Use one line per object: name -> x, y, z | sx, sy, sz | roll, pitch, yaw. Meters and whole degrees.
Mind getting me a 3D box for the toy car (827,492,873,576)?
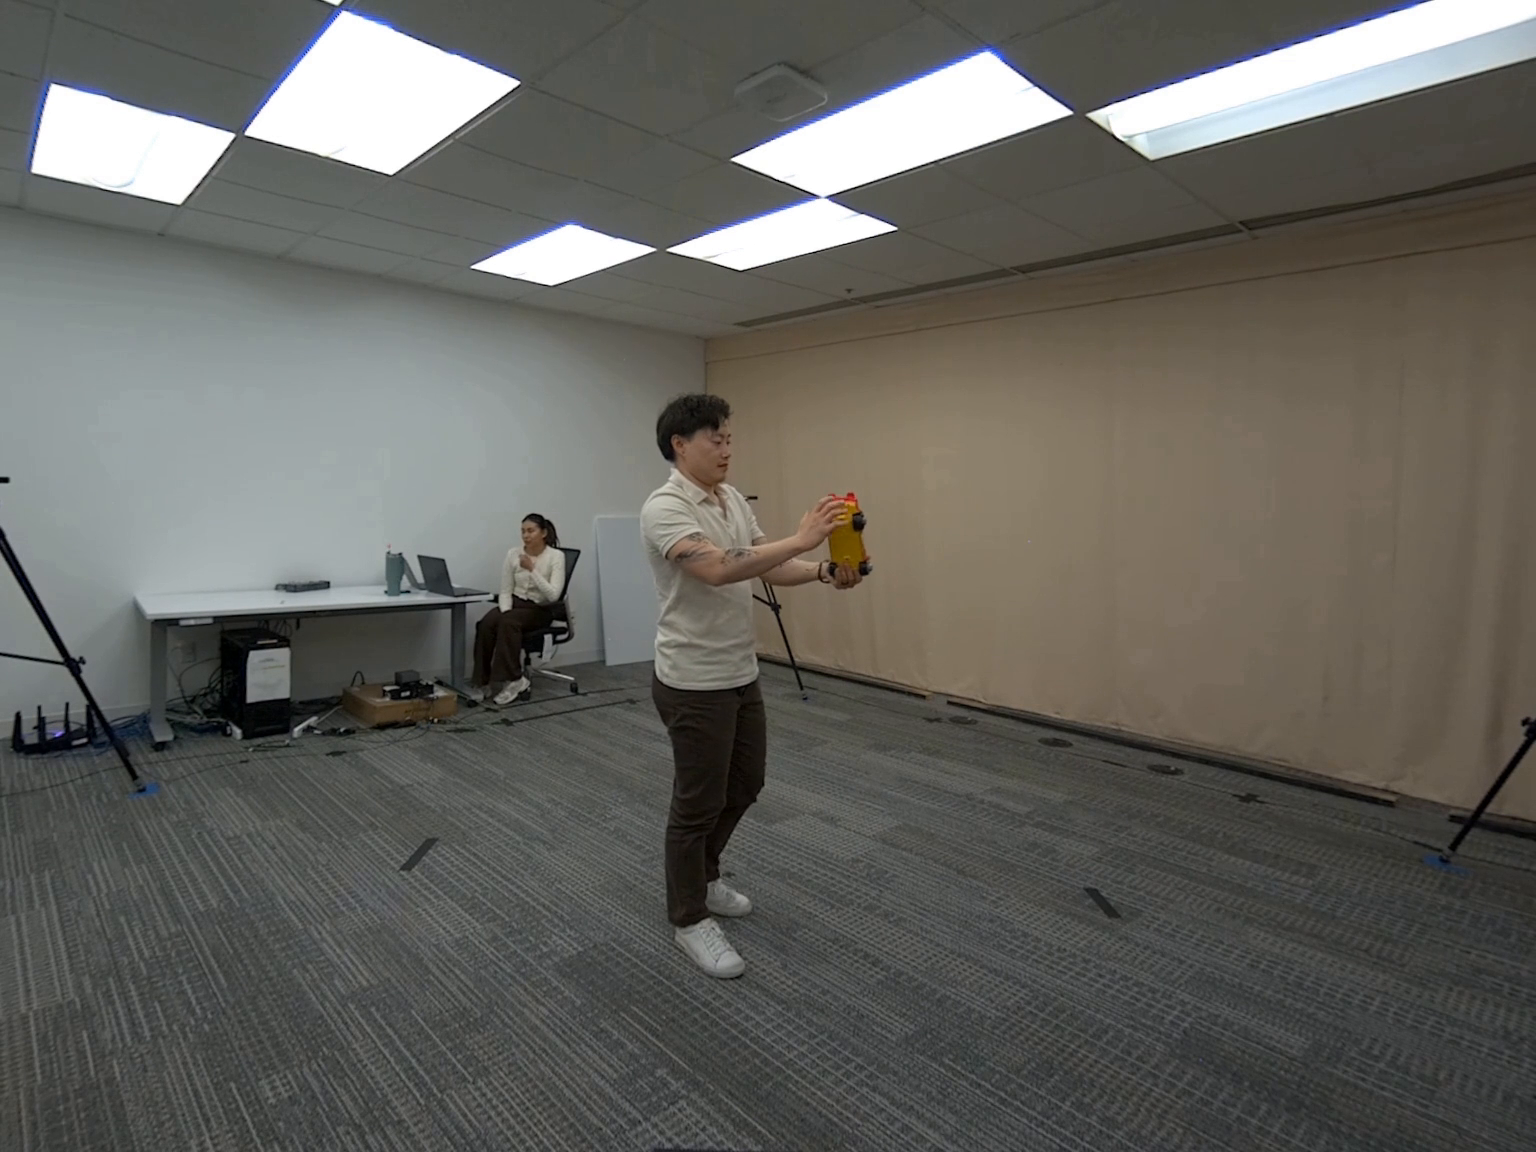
toy car -> 0.208, -0.108, 2.333 | 0.132, 0.252, 0.083 | -3, 12, 17
